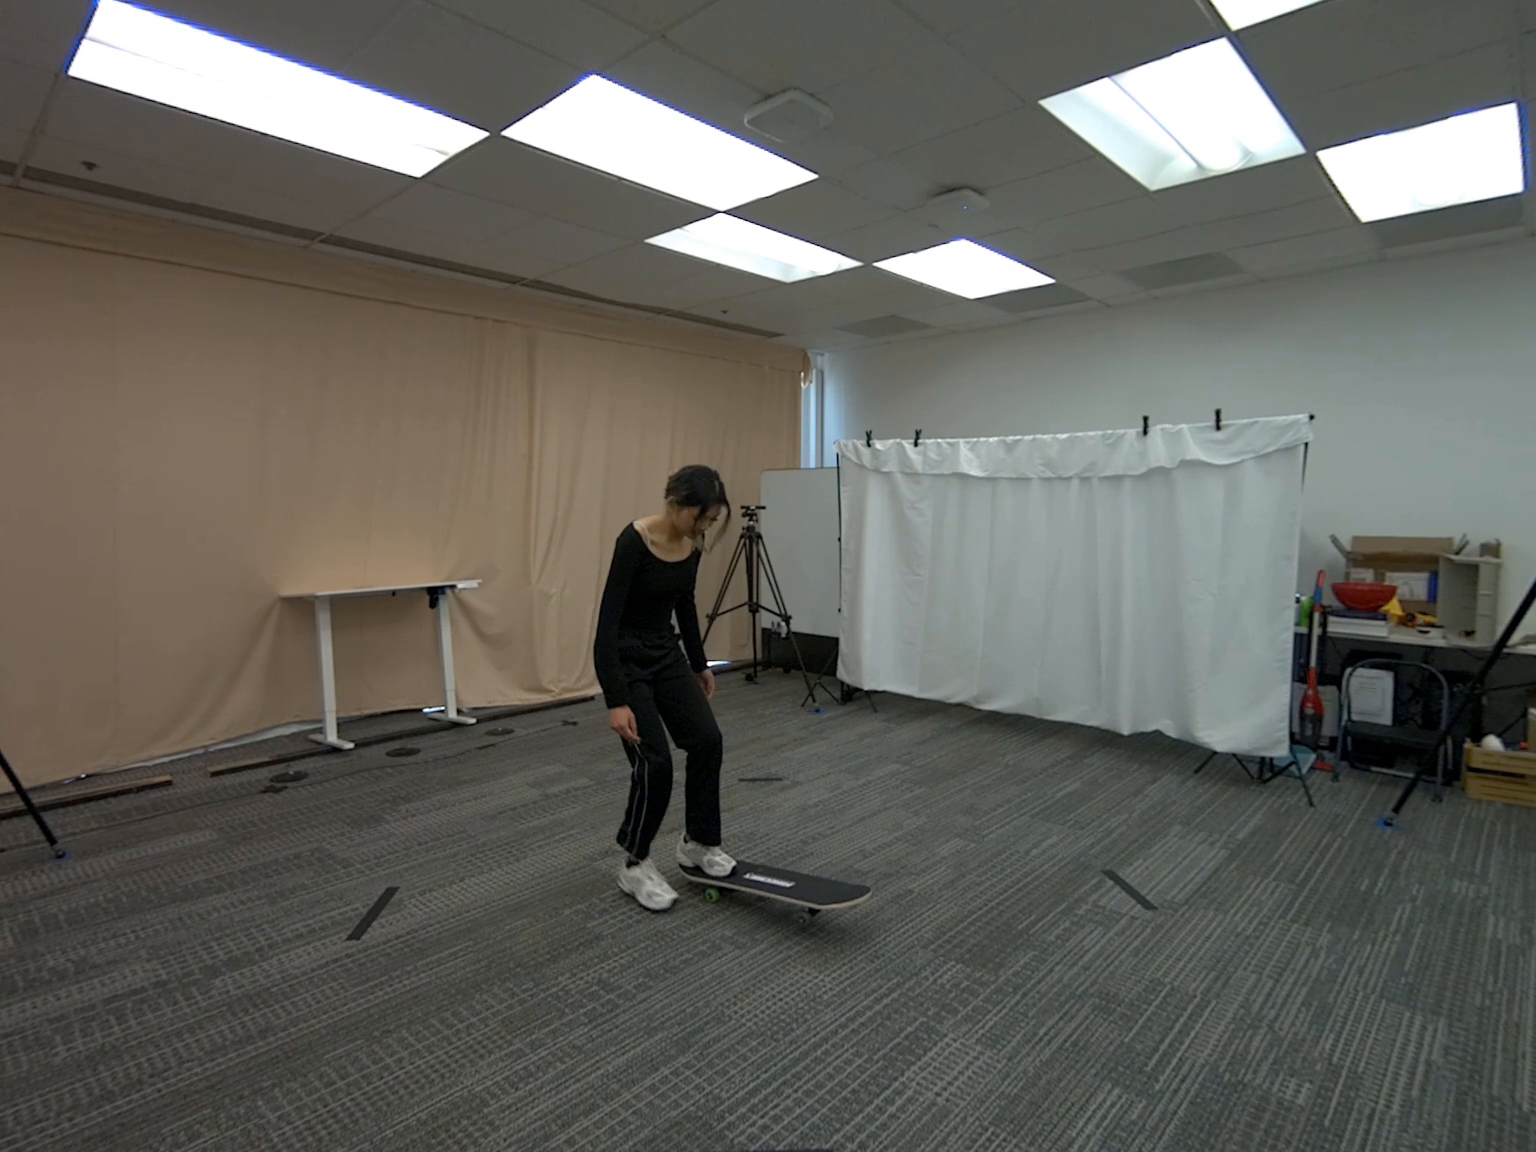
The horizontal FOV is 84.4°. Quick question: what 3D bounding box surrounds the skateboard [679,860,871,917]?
[{"bbox_3d":[0.005,1.081,2.886,0.809,0.110,0.188,-5,1,40],"label":"skateboard"}]
